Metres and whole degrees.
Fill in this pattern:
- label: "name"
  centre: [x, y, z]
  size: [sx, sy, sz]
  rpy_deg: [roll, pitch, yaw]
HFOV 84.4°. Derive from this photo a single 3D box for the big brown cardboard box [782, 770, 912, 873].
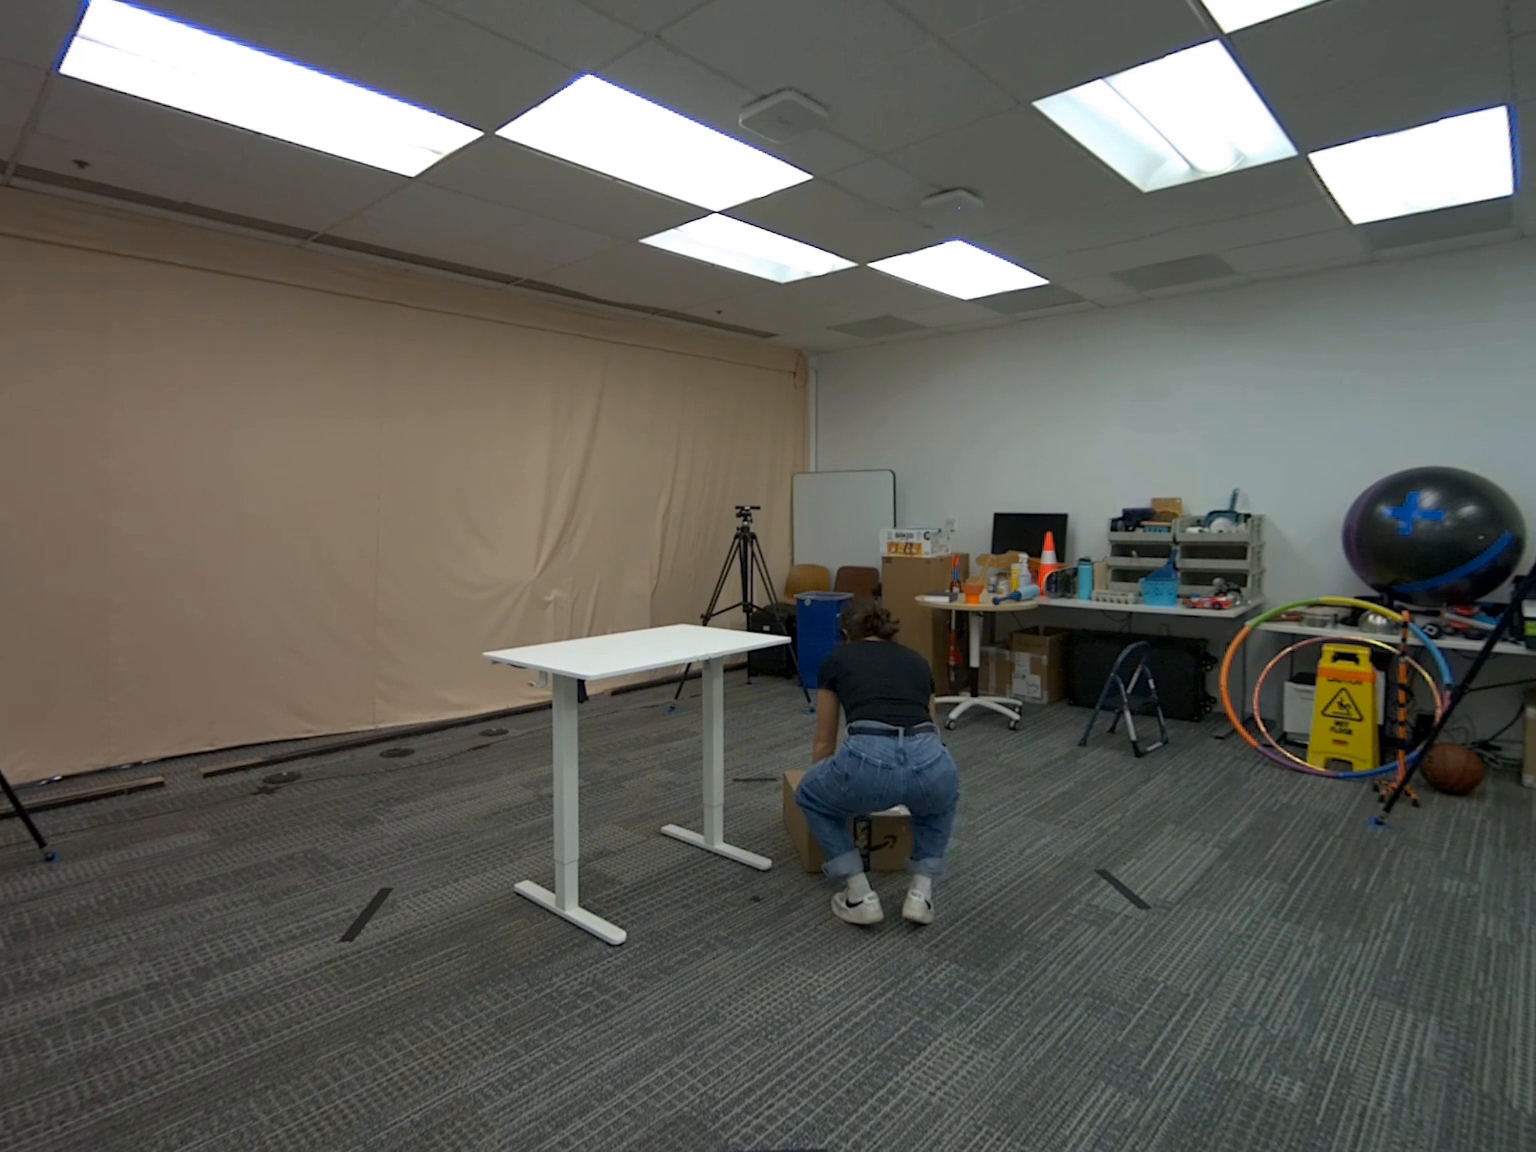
- label: "big brown cardboard box"
  centre: [0.315, 0.993, 3.469]
  size: [0.414, 0.233, 0.594]
  rpy_deg: [0, 3, -8]
